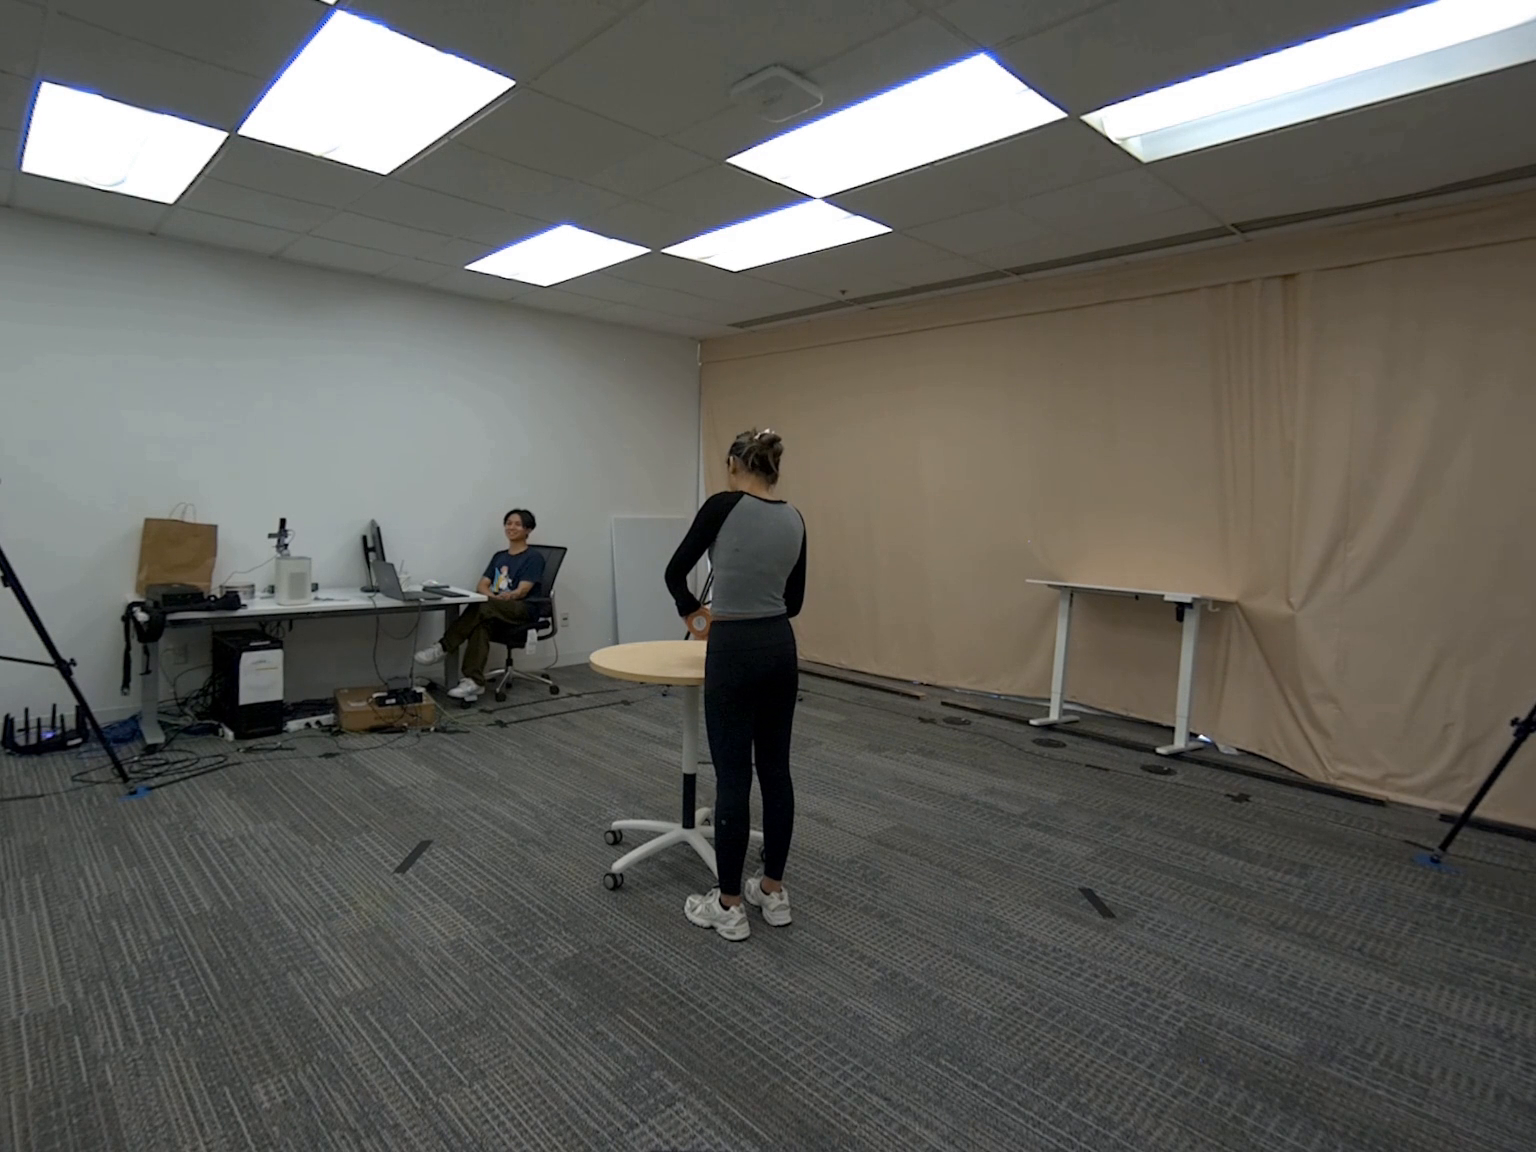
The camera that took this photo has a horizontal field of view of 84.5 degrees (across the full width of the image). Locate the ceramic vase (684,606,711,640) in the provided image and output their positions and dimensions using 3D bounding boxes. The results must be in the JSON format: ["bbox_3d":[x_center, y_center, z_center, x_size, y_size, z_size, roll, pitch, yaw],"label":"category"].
[{"bbox_3d":[-0.219,0.172,3.081,0.135,0.161,0.216,-29,-11,13],"label":"ceramic vase"}]
